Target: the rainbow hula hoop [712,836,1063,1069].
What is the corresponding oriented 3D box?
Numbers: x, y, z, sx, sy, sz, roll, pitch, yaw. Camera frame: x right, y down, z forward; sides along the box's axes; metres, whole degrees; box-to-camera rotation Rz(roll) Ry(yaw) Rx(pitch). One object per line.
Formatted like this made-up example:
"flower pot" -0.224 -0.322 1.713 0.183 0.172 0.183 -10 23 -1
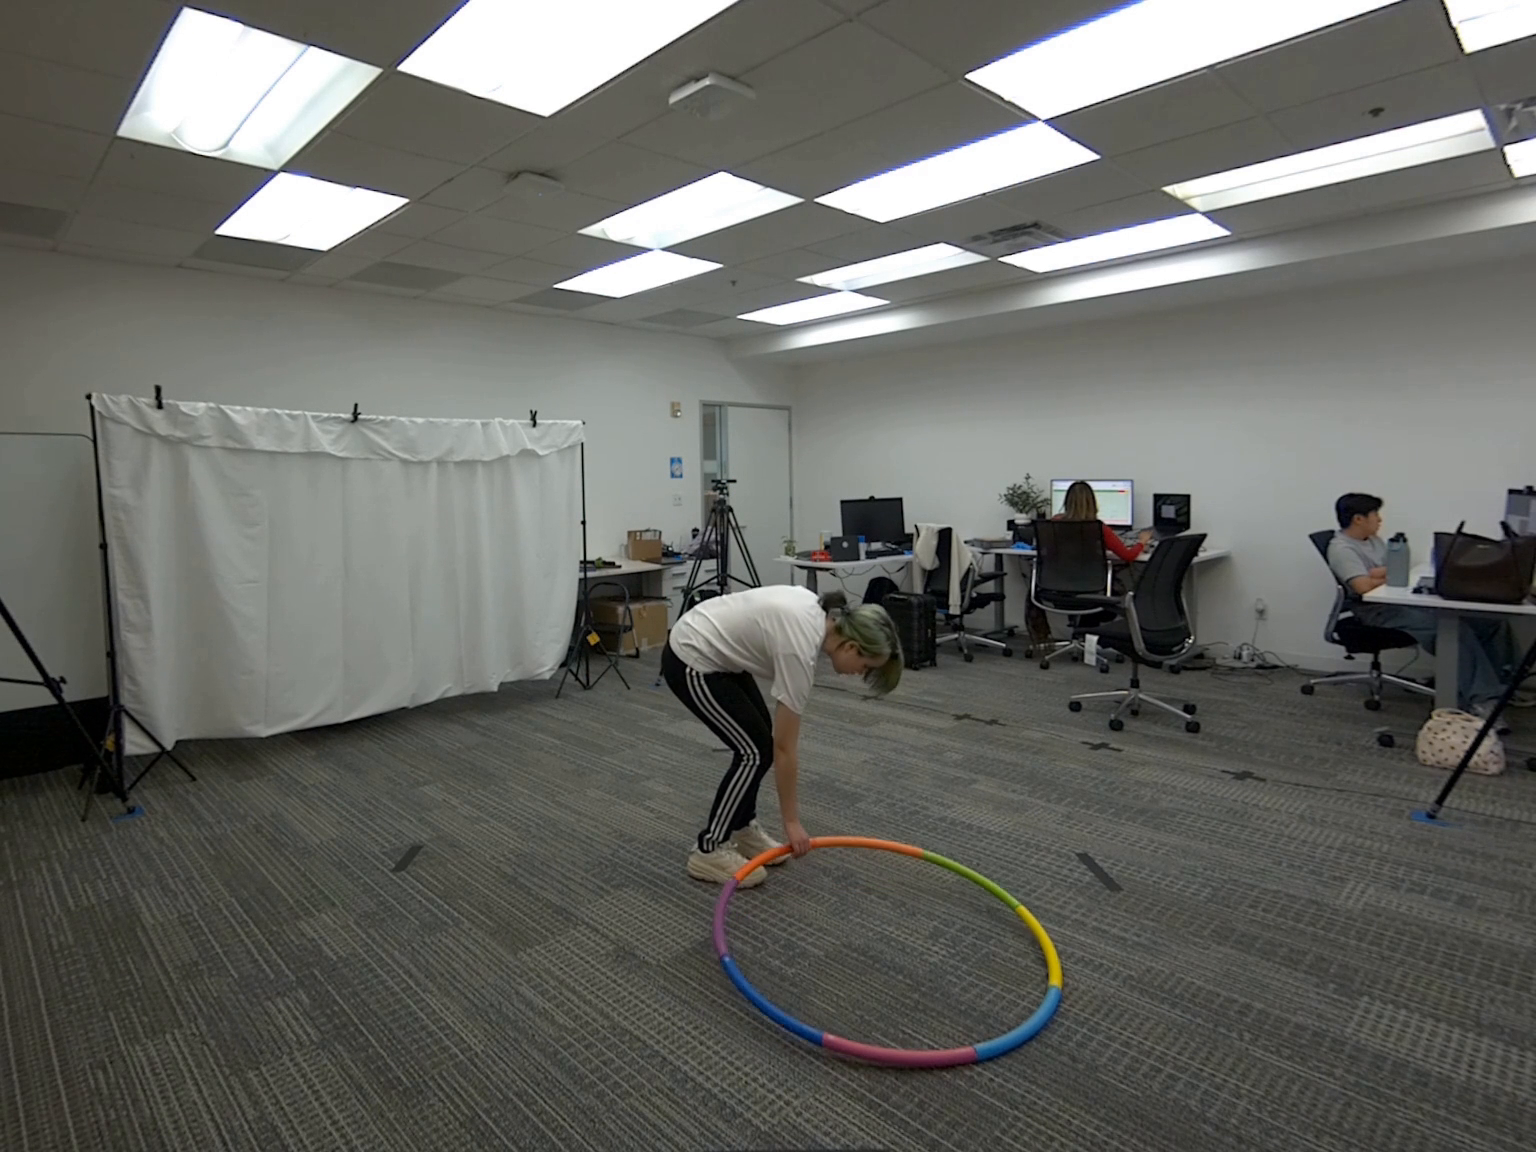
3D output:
"rainbow hula hoop" 0.333 1.028 2.490 0.978 0.035 0.990 2 13 -2
